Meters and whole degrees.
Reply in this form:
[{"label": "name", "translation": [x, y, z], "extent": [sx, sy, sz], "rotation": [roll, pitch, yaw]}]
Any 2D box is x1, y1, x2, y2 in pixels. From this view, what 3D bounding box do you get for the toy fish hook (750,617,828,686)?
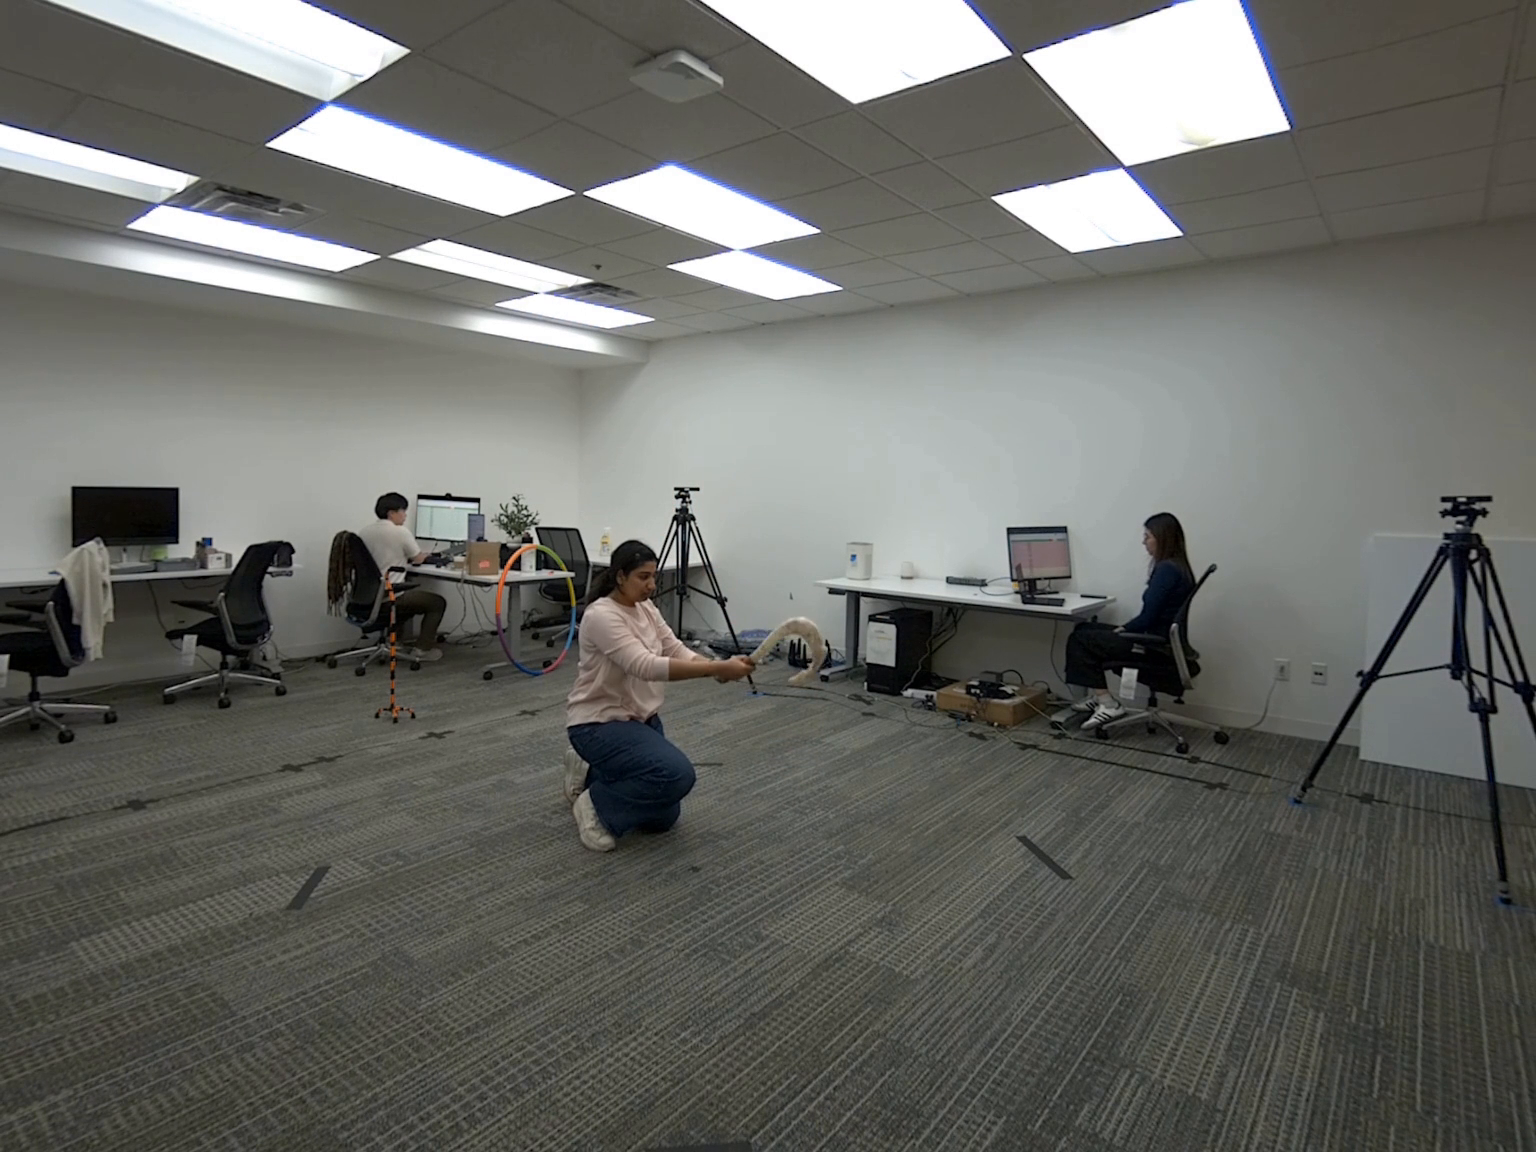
[{"label": "toy fish hook", "translation": [-0.018, 0.321, 3.113], "extent": [0.511, 0.230, 0.046], "rotation": [-32, -24, 32]}]
